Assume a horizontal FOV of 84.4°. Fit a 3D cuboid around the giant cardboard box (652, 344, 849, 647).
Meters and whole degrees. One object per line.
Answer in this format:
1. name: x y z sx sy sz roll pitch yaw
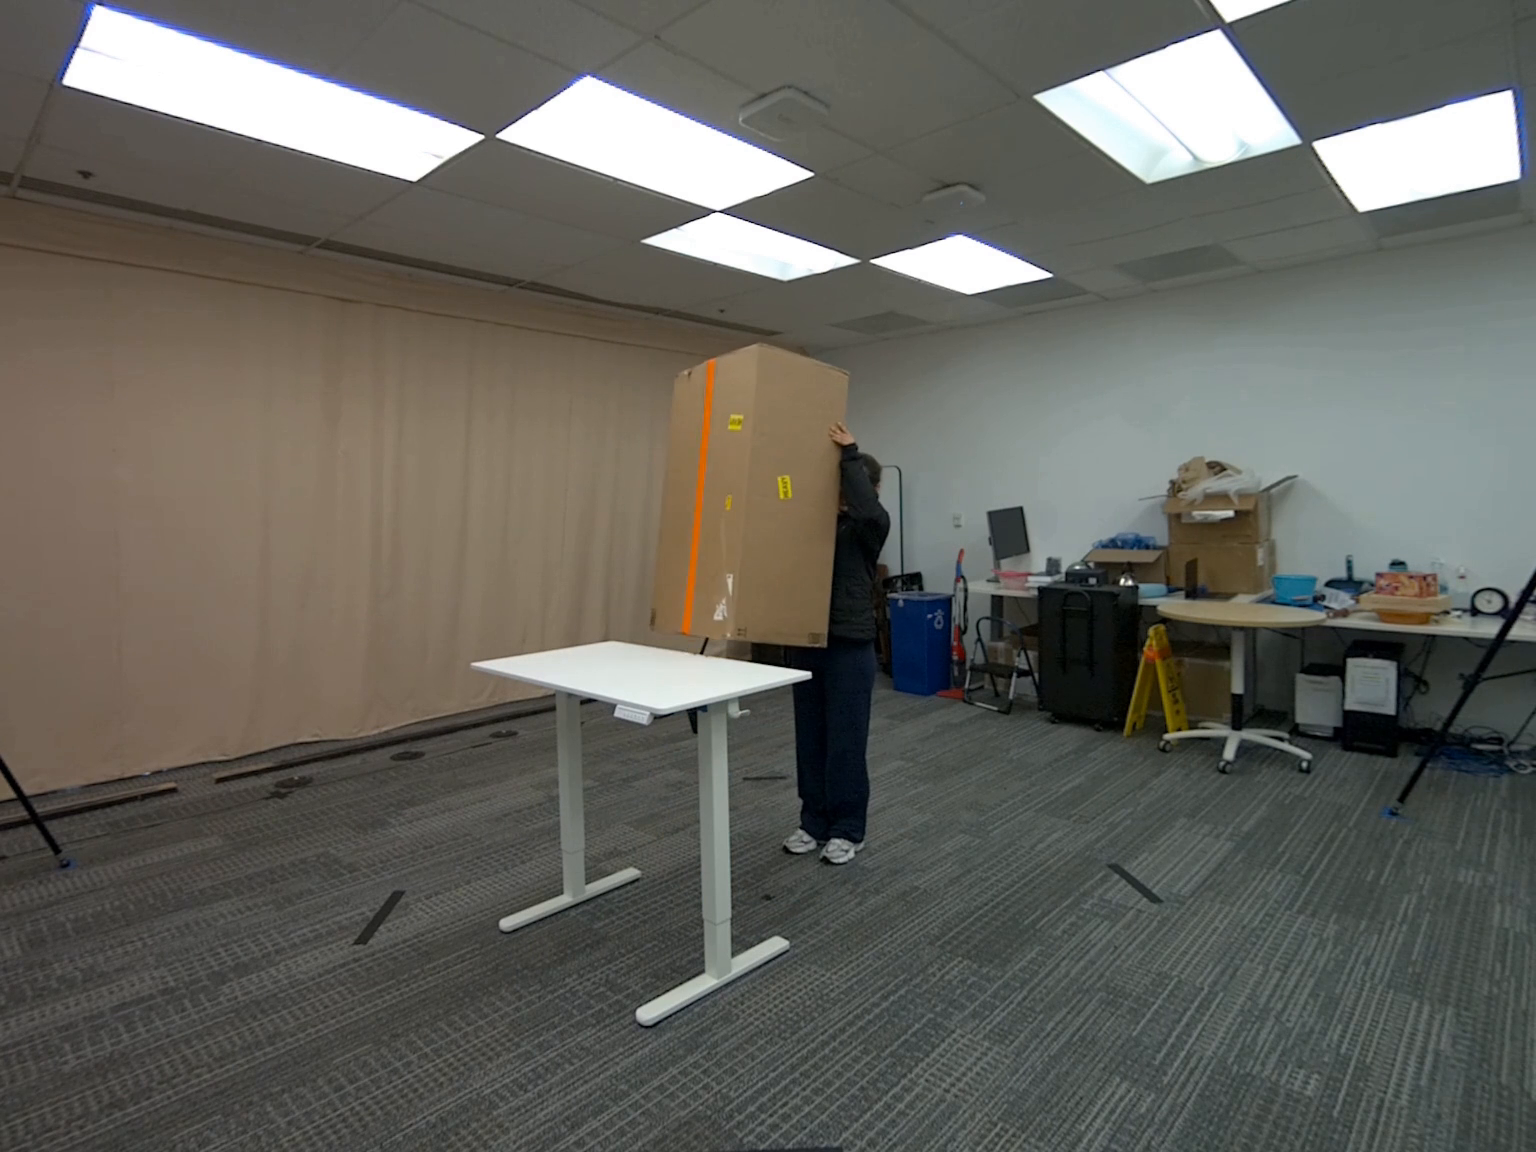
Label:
1. giant cardboard box: -0.074 -0.267 3.192 0.433 1.030 0.601 8 -6 -34
